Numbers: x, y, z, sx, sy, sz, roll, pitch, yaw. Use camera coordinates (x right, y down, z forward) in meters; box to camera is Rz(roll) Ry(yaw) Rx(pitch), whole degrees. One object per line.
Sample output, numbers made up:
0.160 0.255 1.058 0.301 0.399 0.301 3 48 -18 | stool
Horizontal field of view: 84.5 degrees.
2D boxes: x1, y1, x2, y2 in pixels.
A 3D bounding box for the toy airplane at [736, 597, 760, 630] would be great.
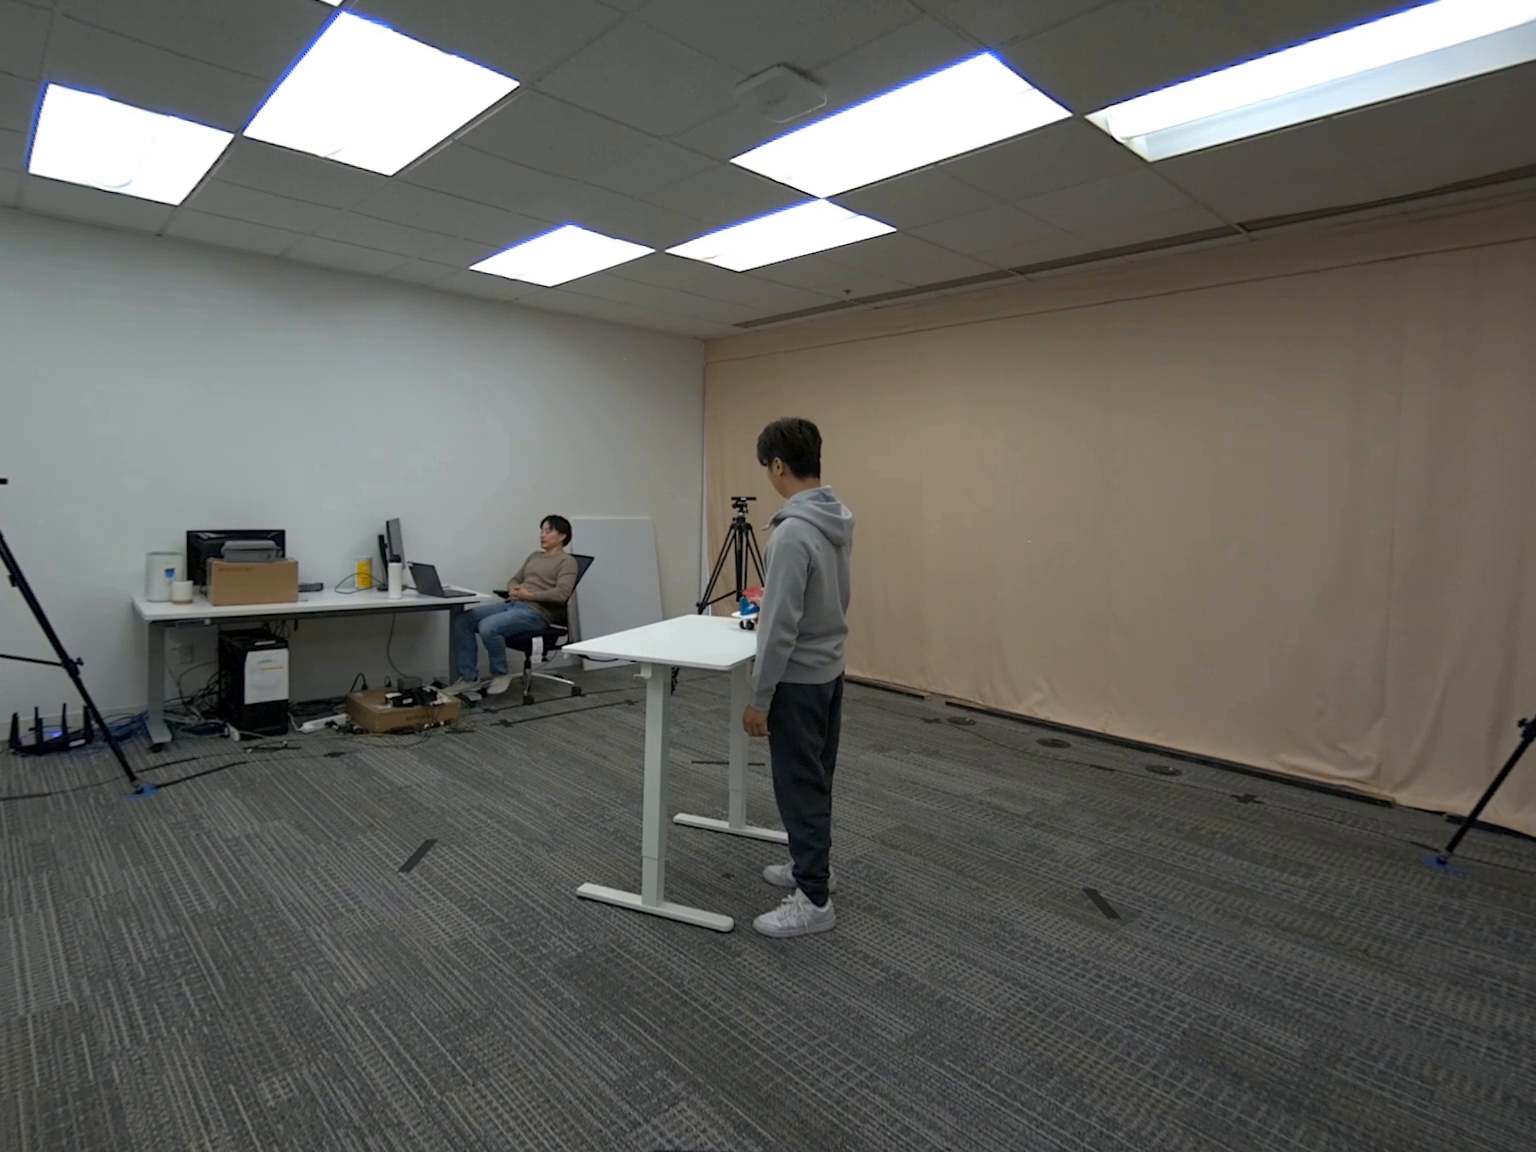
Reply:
-0.008 0.133 3.351 0.254 0.156 0.256 2 3 16 | toy airplane
